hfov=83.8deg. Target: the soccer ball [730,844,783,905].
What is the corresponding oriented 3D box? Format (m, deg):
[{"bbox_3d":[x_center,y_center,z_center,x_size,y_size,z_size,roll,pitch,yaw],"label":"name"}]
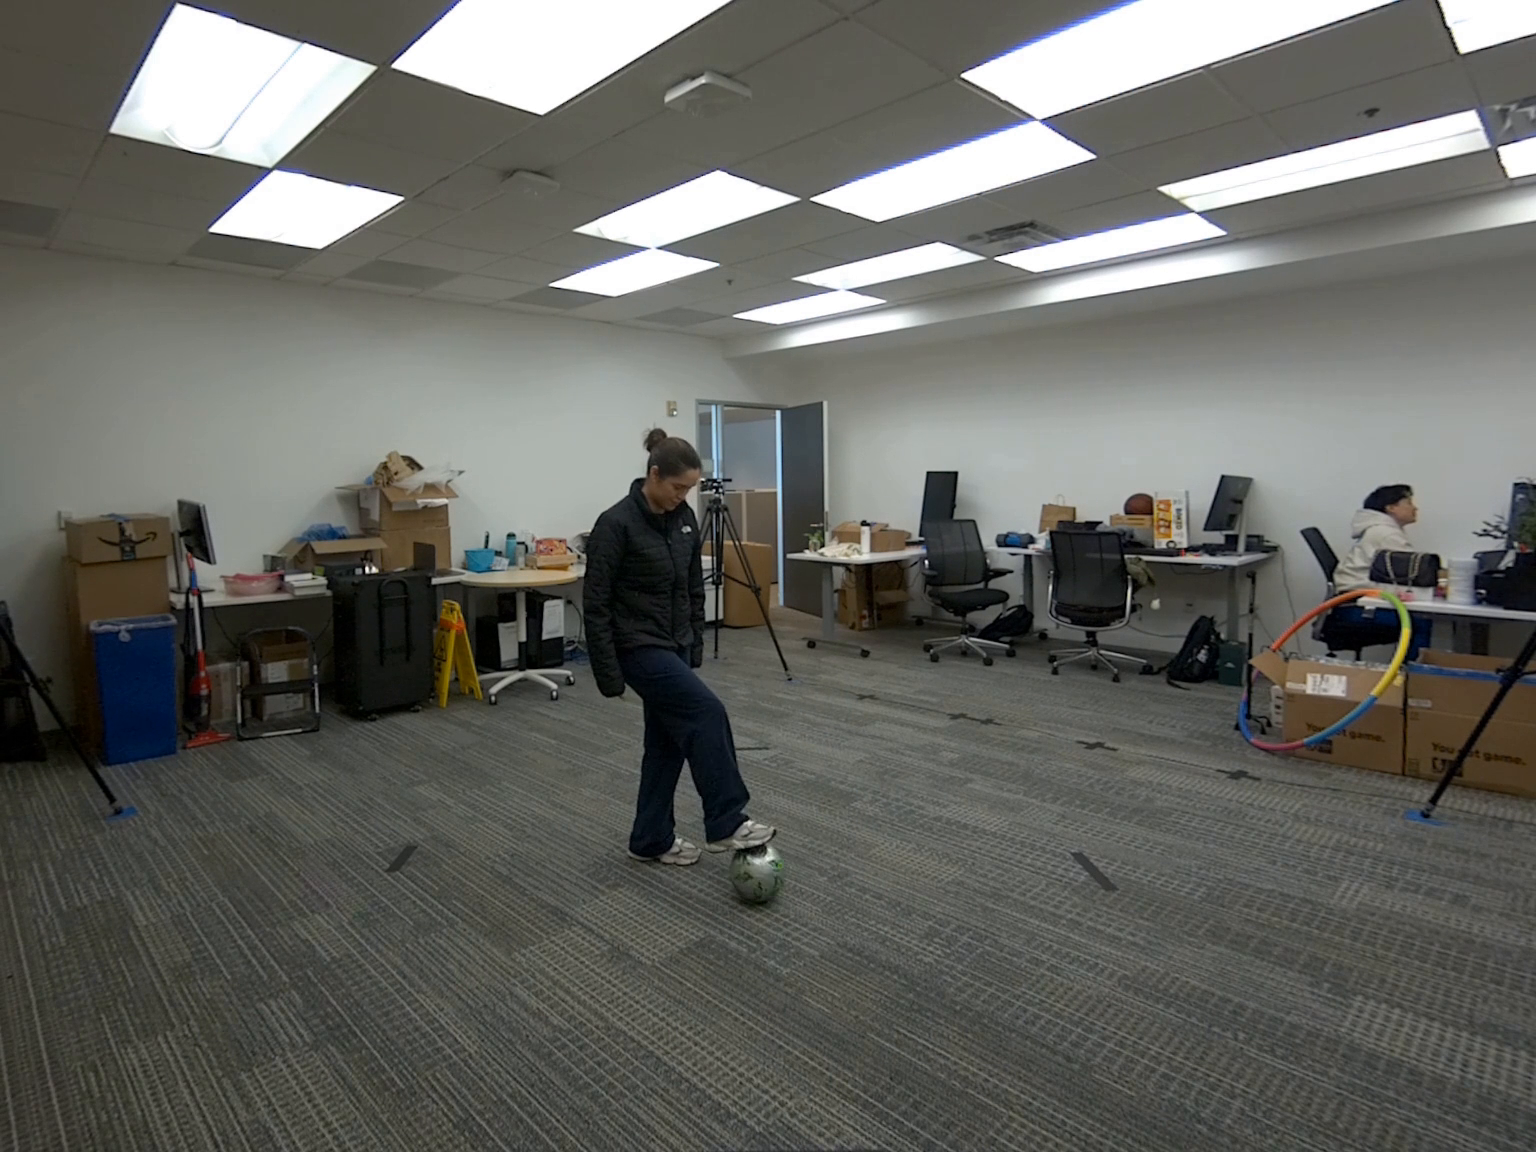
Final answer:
[{"bbox_3d":[-0.035,0.982,2.843,0.187,0.187,0.188,-1,5,-2],"label":"soccer ball"}]
